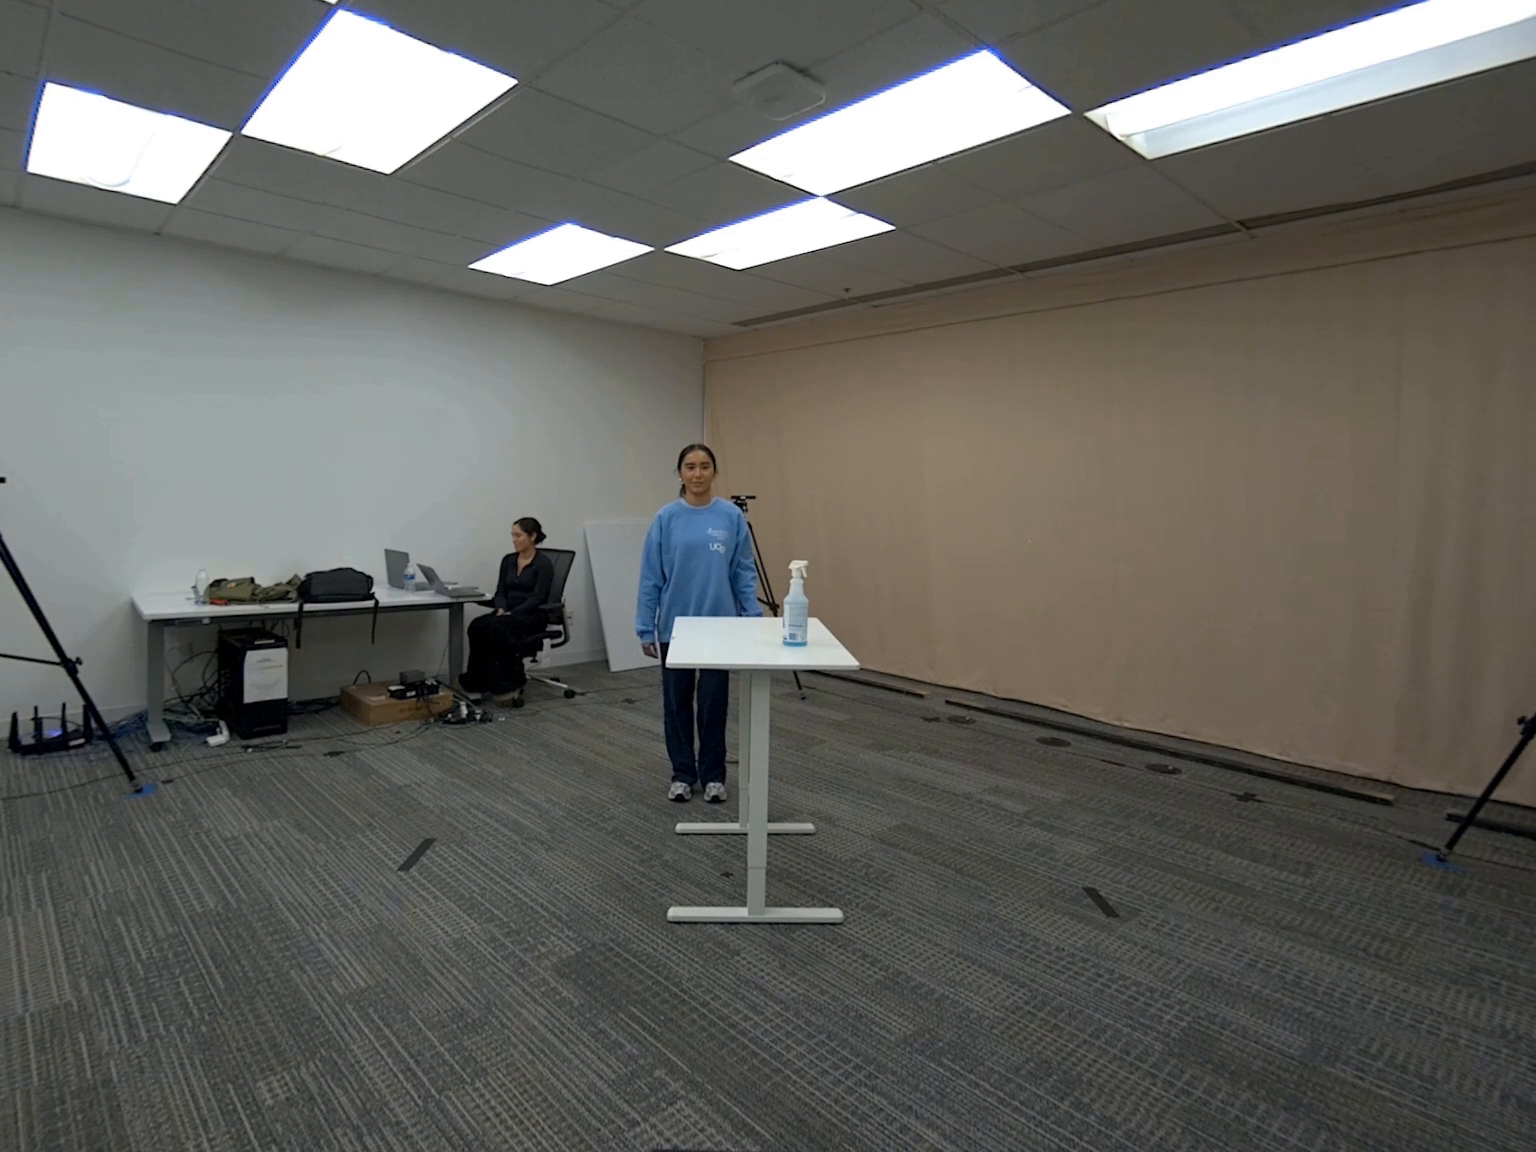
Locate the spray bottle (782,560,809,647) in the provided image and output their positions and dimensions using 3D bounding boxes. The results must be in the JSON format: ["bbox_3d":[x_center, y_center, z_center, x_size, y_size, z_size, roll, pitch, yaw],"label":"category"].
[{"bbox_3d":[0.095,0.097,2.930,0.086,0.296,0.091,-1,4,-13],"label":"spray bottle"}]
